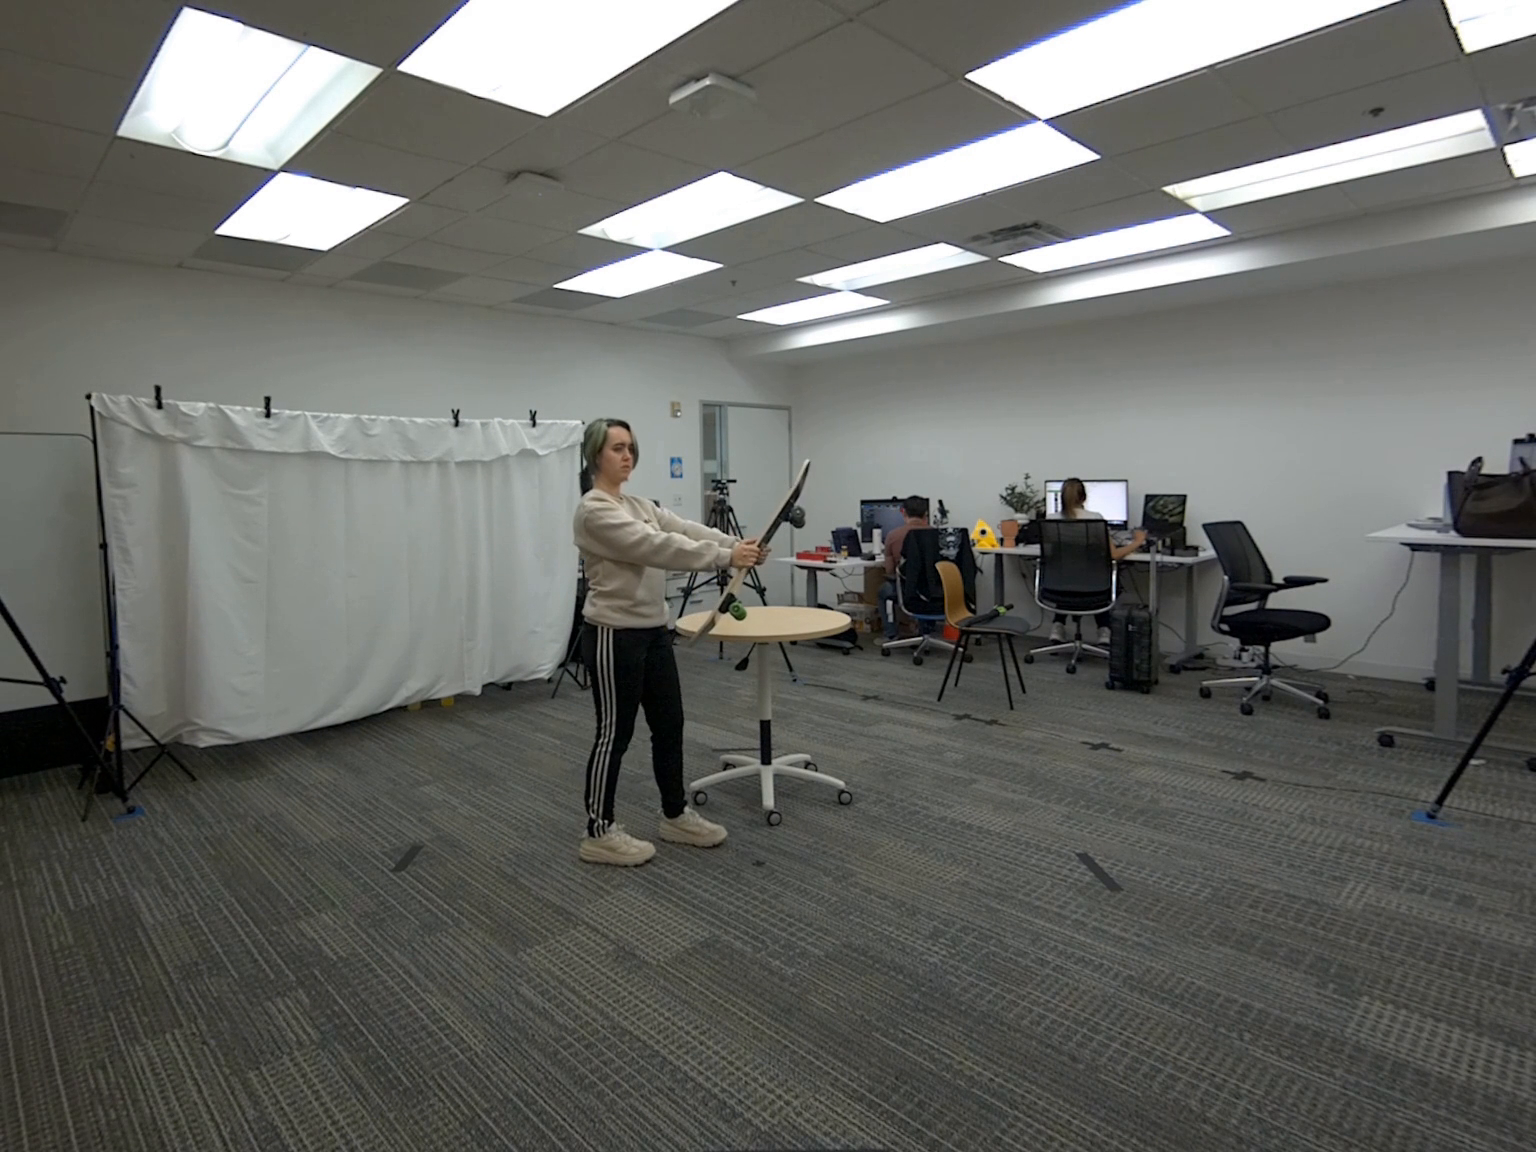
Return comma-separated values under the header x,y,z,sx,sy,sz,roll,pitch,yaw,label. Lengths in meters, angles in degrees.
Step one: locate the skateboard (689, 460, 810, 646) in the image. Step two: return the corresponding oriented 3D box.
x,y,z,sx,sy,sz,roll,pitch,yaw,label
-0.021,-0.058,3.034,0.112,0.786,0.191,32,-5,8,skateboard
